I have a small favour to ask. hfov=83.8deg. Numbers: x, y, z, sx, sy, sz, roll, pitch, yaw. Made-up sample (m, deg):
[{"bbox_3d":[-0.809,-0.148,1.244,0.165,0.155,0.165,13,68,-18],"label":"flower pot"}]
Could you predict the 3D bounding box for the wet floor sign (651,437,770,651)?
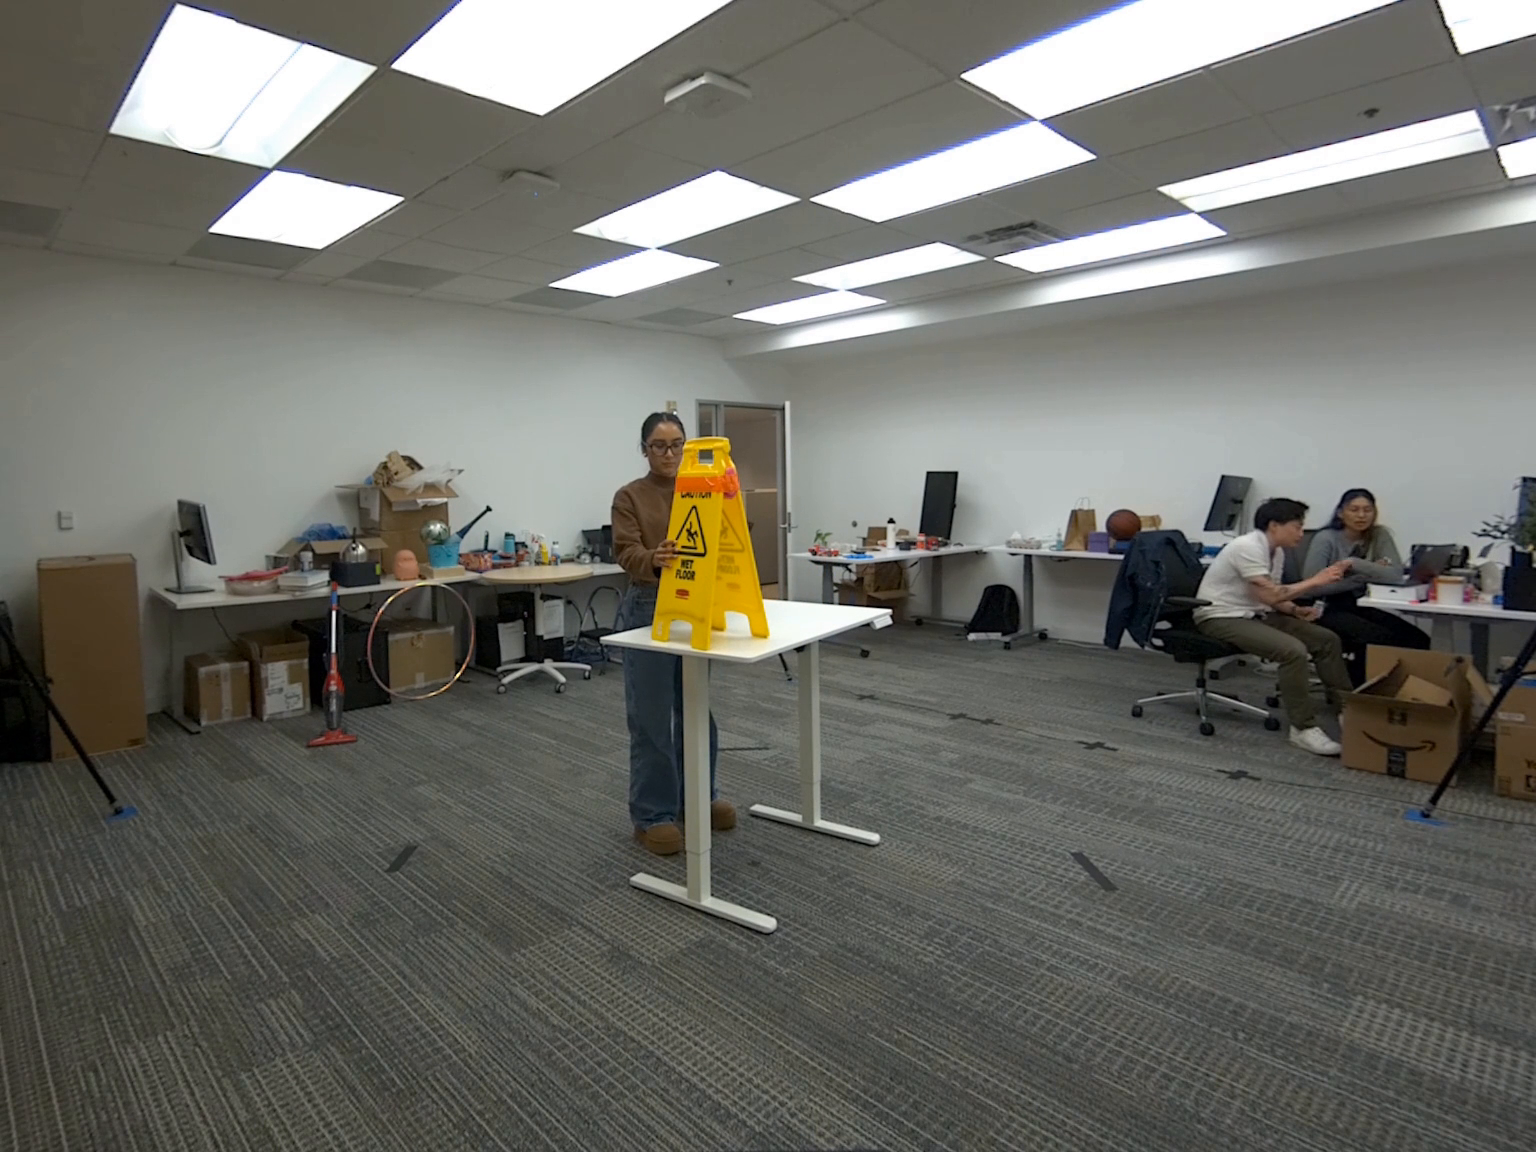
[{"bbox_3d":[-0.189,-0.116,2.753,0.282,0.644,0.291,-4,5,-44],"label":"wet floor sign"}]
